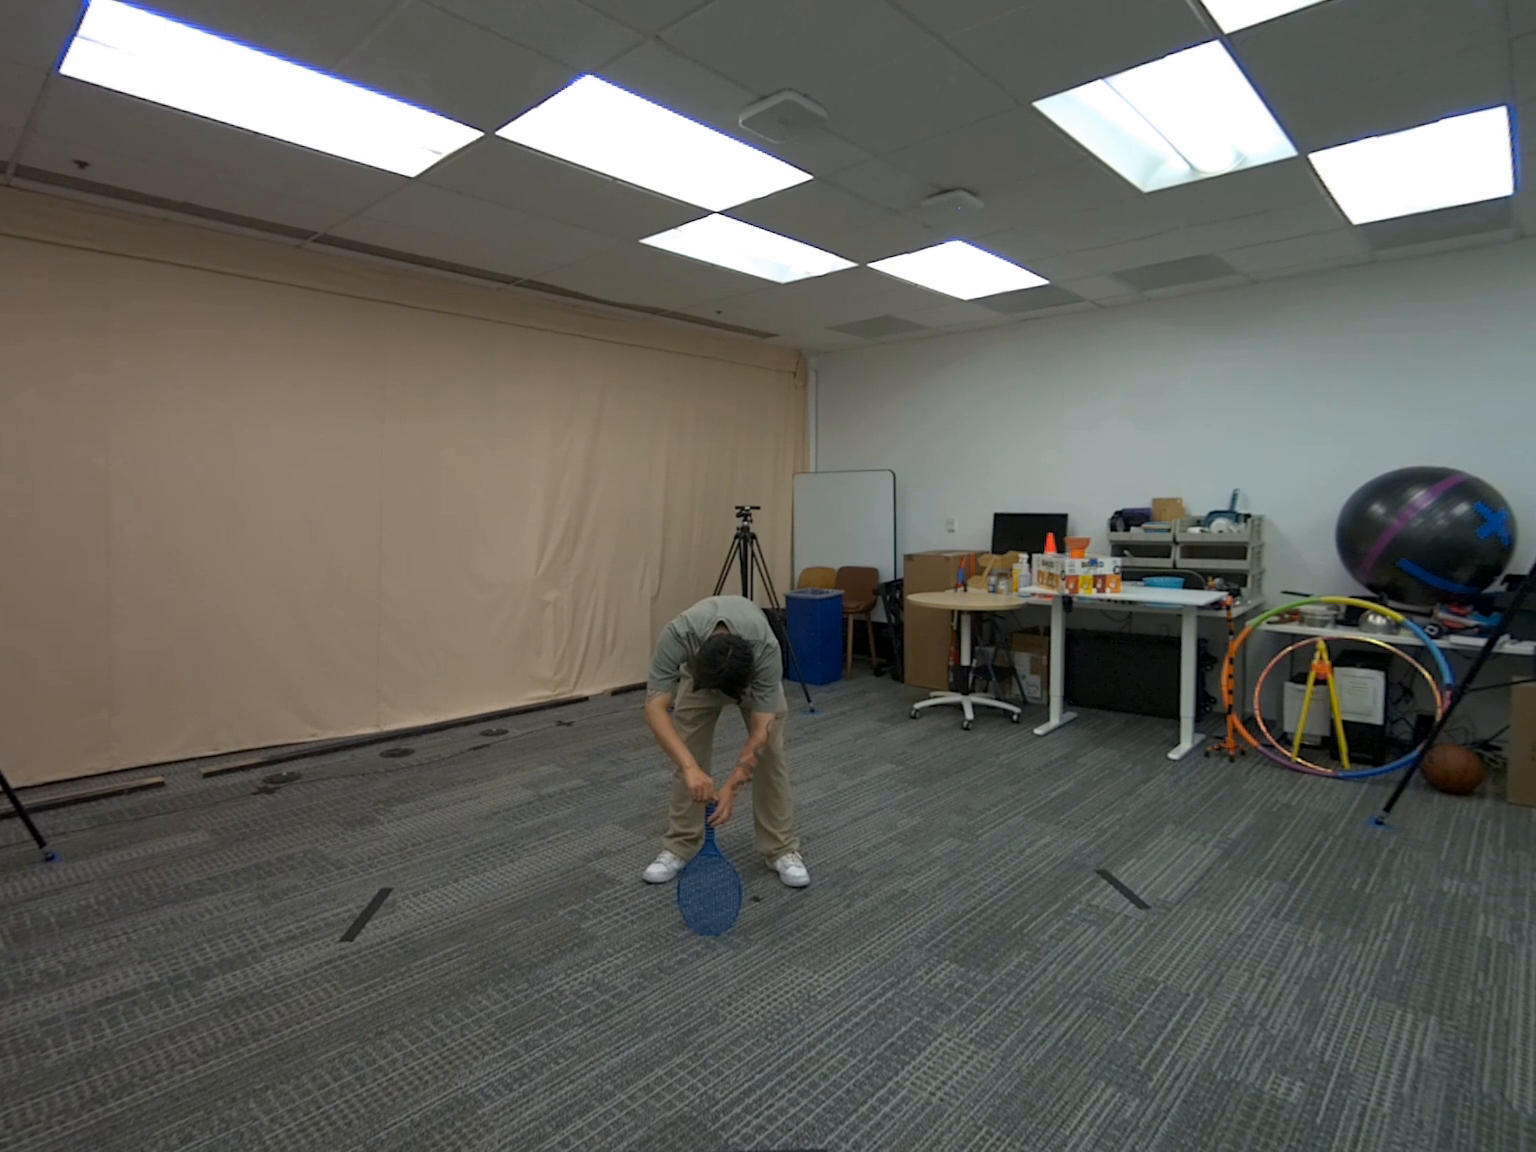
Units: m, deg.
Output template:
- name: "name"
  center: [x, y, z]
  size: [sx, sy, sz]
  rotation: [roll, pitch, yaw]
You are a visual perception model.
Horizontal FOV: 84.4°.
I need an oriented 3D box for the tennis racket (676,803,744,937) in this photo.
- name: "tennis racket"
  center: [-0.187, 0.950, 2.735]
  size: [0.215, 0.433, 0.031]
  rotation: [-1, -2, 5]
